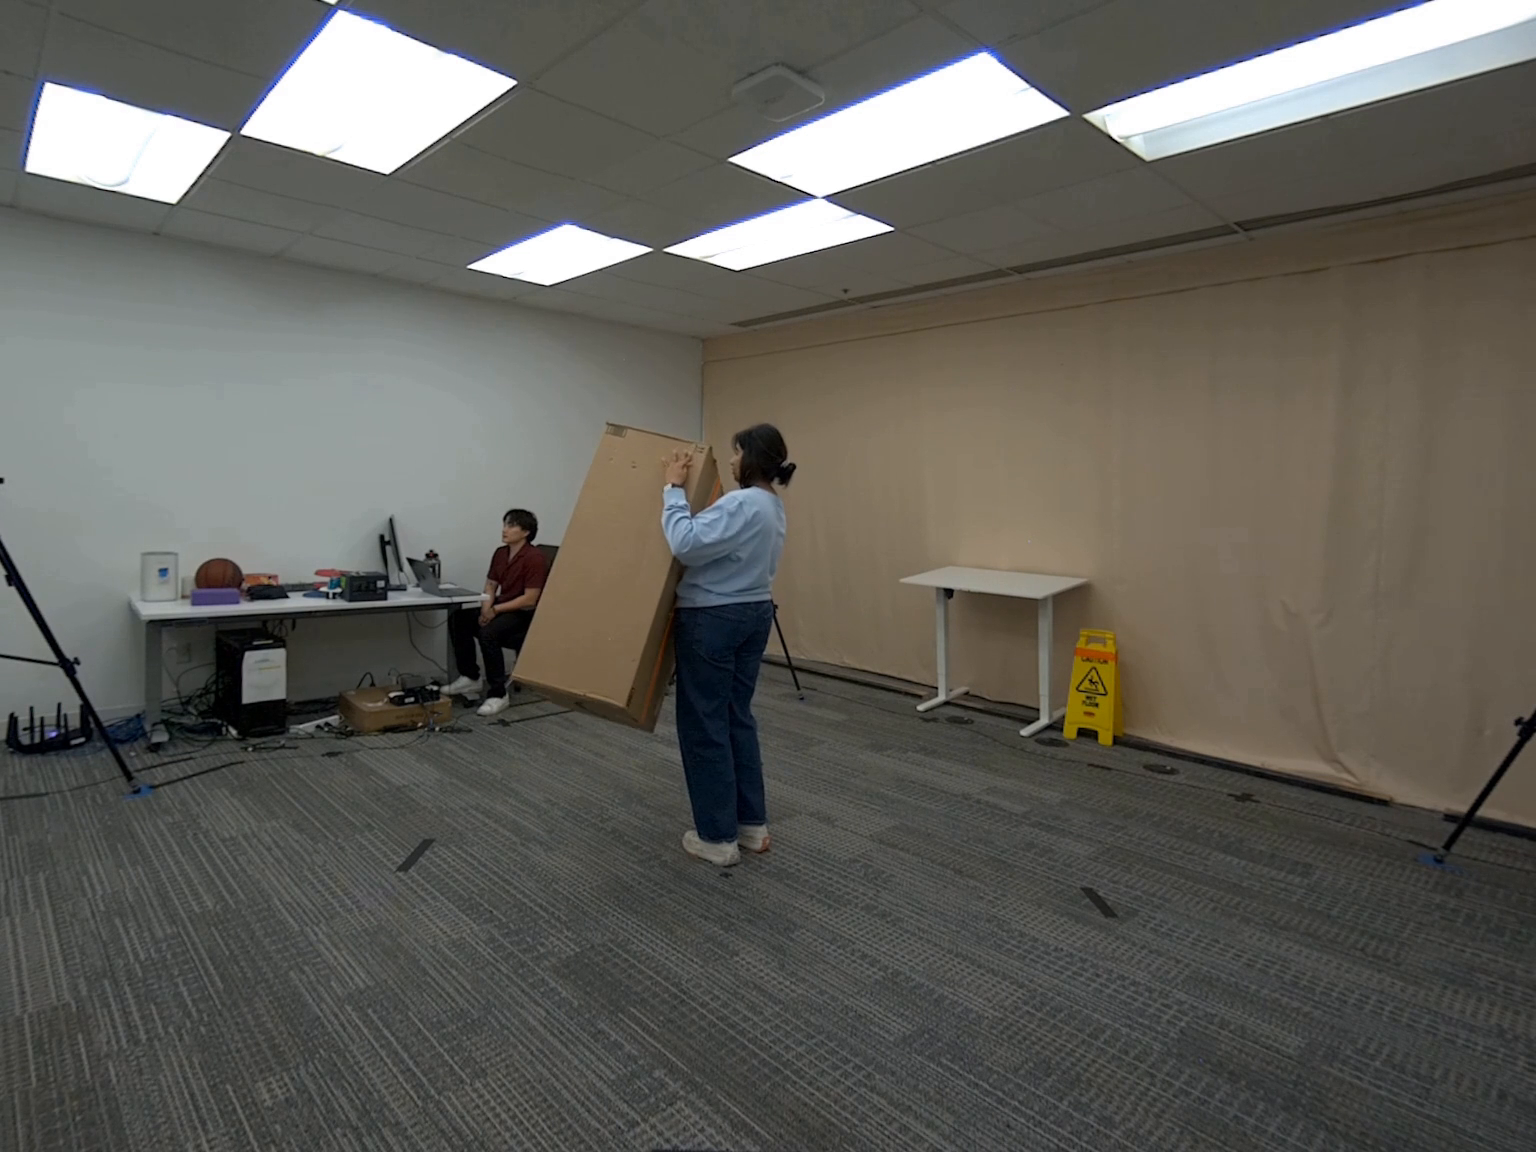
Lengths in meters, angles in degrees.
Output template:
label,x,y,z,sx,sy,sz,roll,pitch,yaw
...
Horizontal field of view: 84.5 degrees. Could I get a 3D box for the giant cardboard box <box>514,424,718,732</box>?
label,x,y,z,sx,sy,sz,roll,pitch,yaw
giant cardboard box,-0.539,0.018,3.275,0.451,1.035,0.573,14,-18,10
